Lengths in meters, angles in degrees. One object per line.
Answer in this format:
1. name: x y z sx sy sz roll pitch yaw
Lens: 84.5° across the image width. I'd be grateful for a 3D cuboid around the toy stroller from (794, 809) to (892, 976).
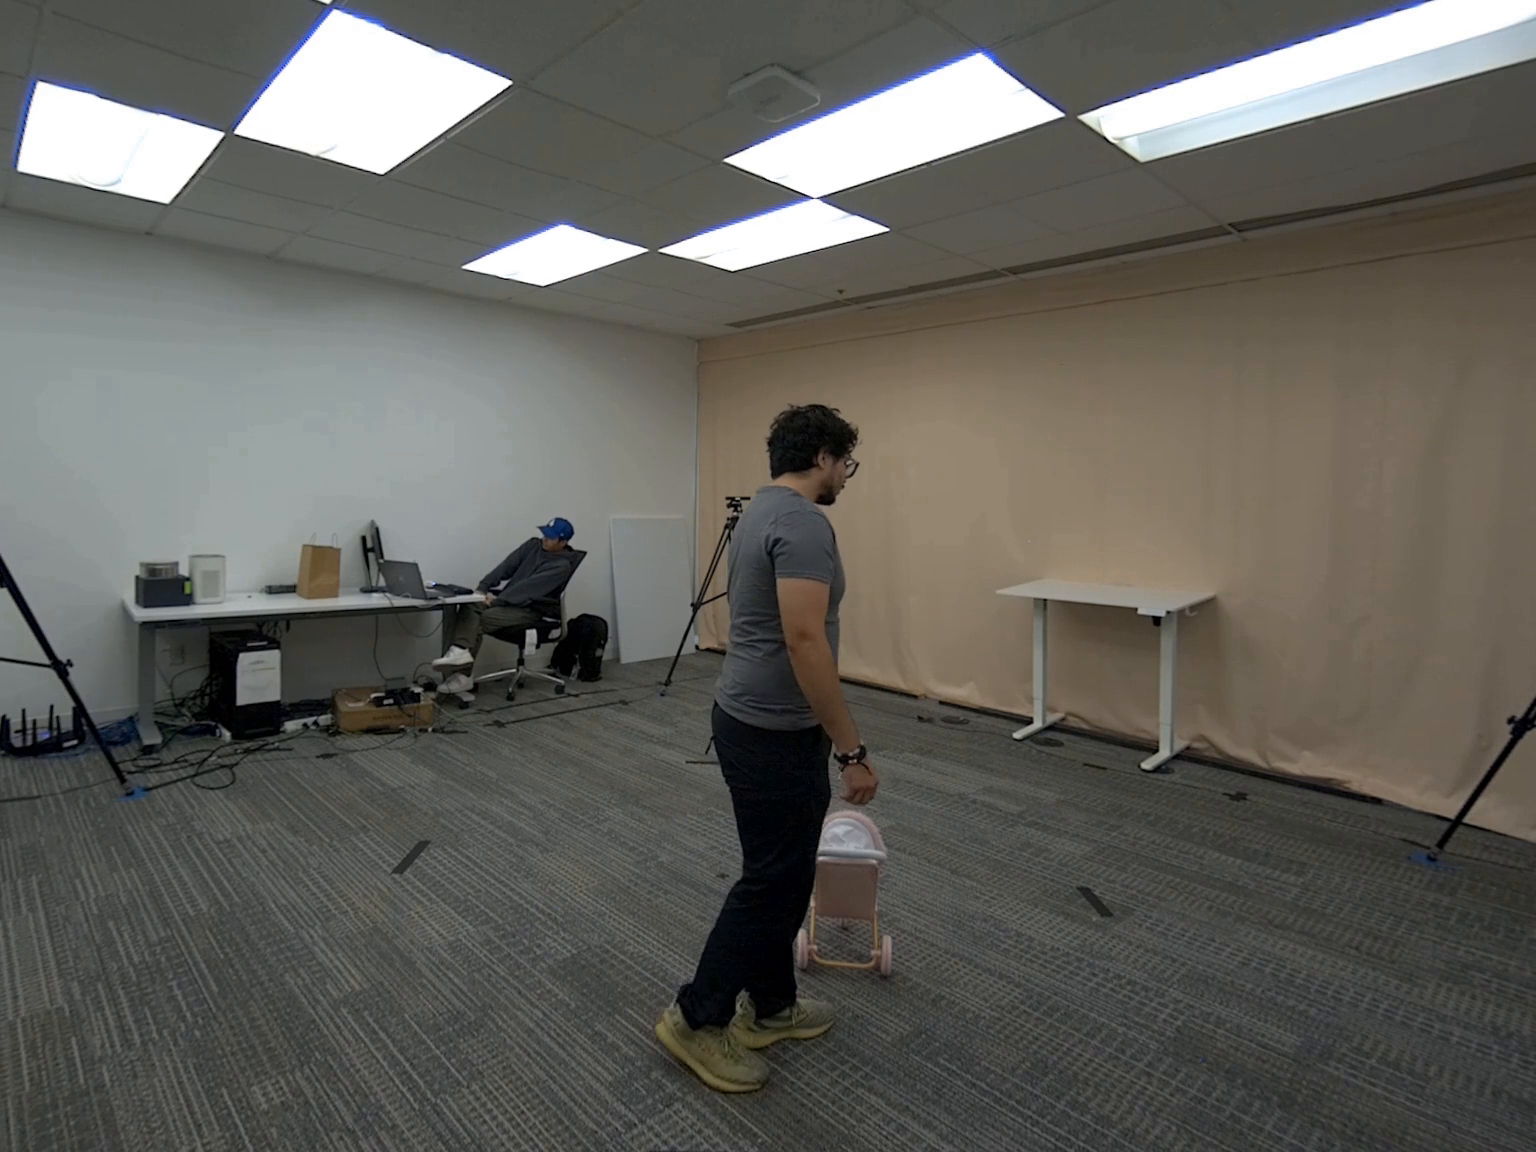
1. toy stroller: 0.235 0.943 2.551 0.284 0.527 0.343 3 20 9
